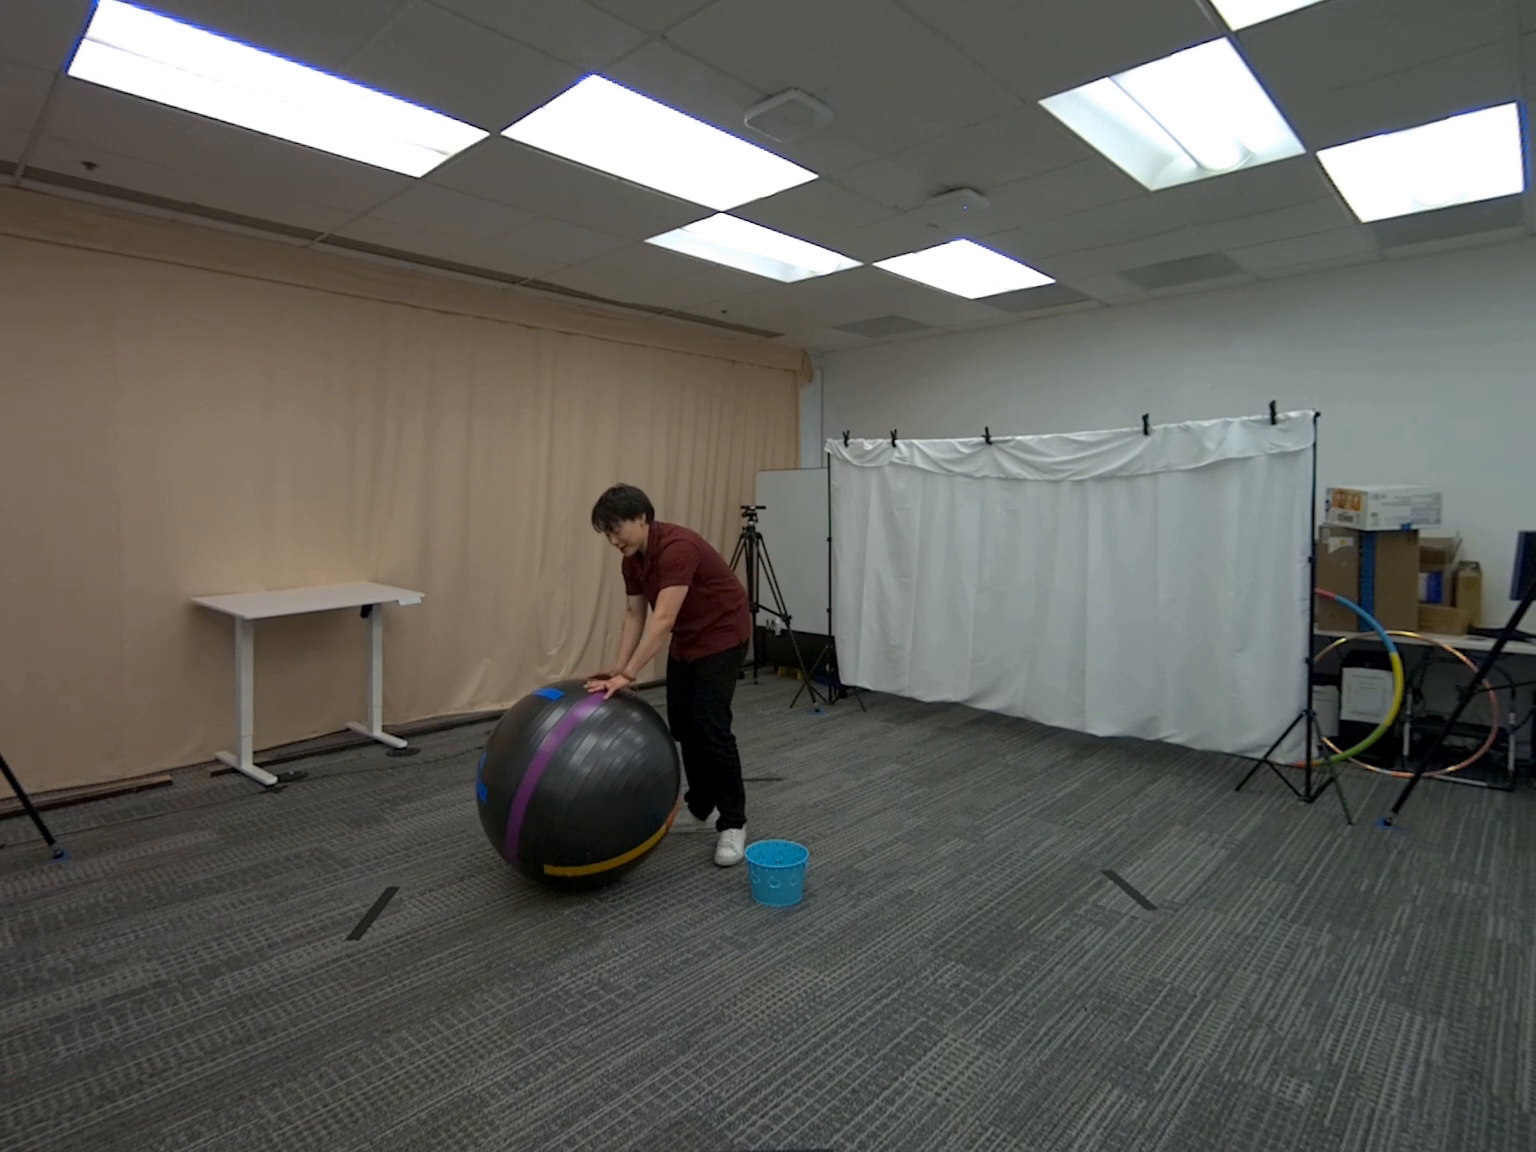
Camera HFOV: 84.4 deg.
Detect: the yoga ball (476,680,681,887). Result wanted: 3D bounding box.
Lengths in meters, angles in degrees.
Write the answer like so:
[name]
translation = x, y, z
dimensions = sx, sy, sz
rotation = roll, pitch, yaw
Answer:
[yoga ball]
translation = -0.713, 0.774, 3.169
dimensions = 0.757, 0.756, 0.760
rotation = 0, 4, -2
